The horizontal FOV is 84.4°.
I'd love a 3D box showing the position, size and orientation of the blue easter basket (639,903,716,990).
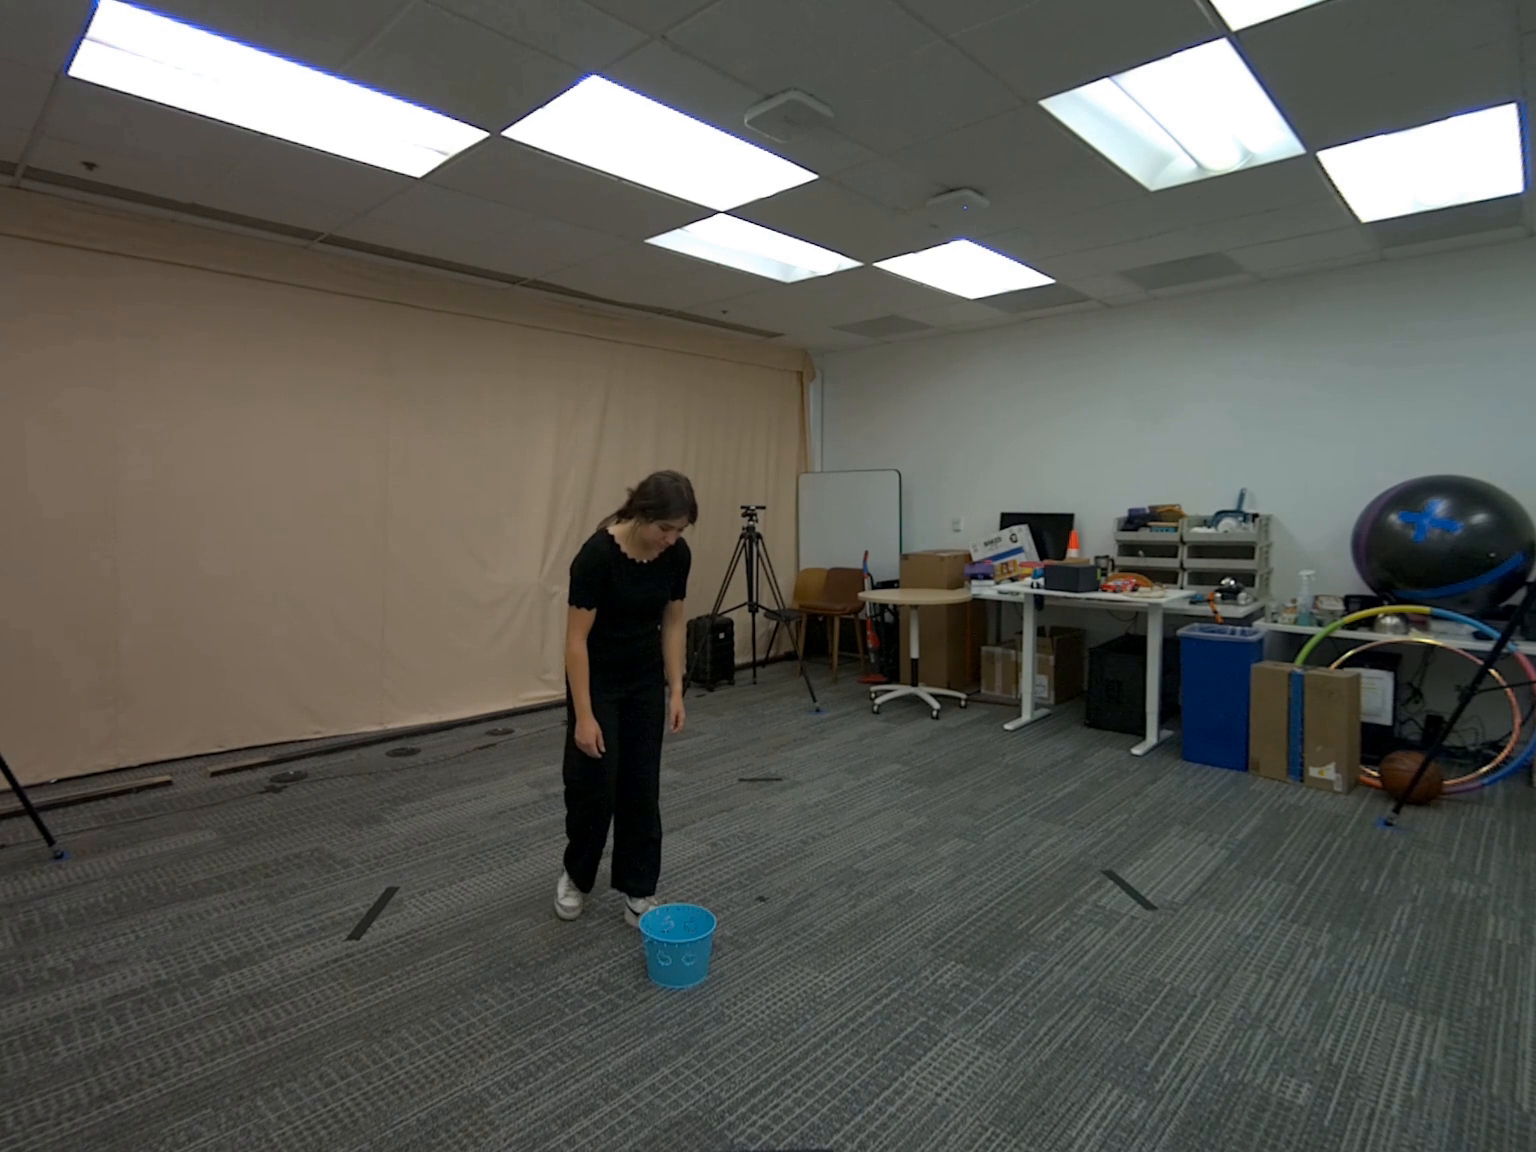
[{"bbox_3d":[-0.266,1.104,2.520,0.243,0.155,0.244,0,4,-2],"label":"blue easter basket"}]
